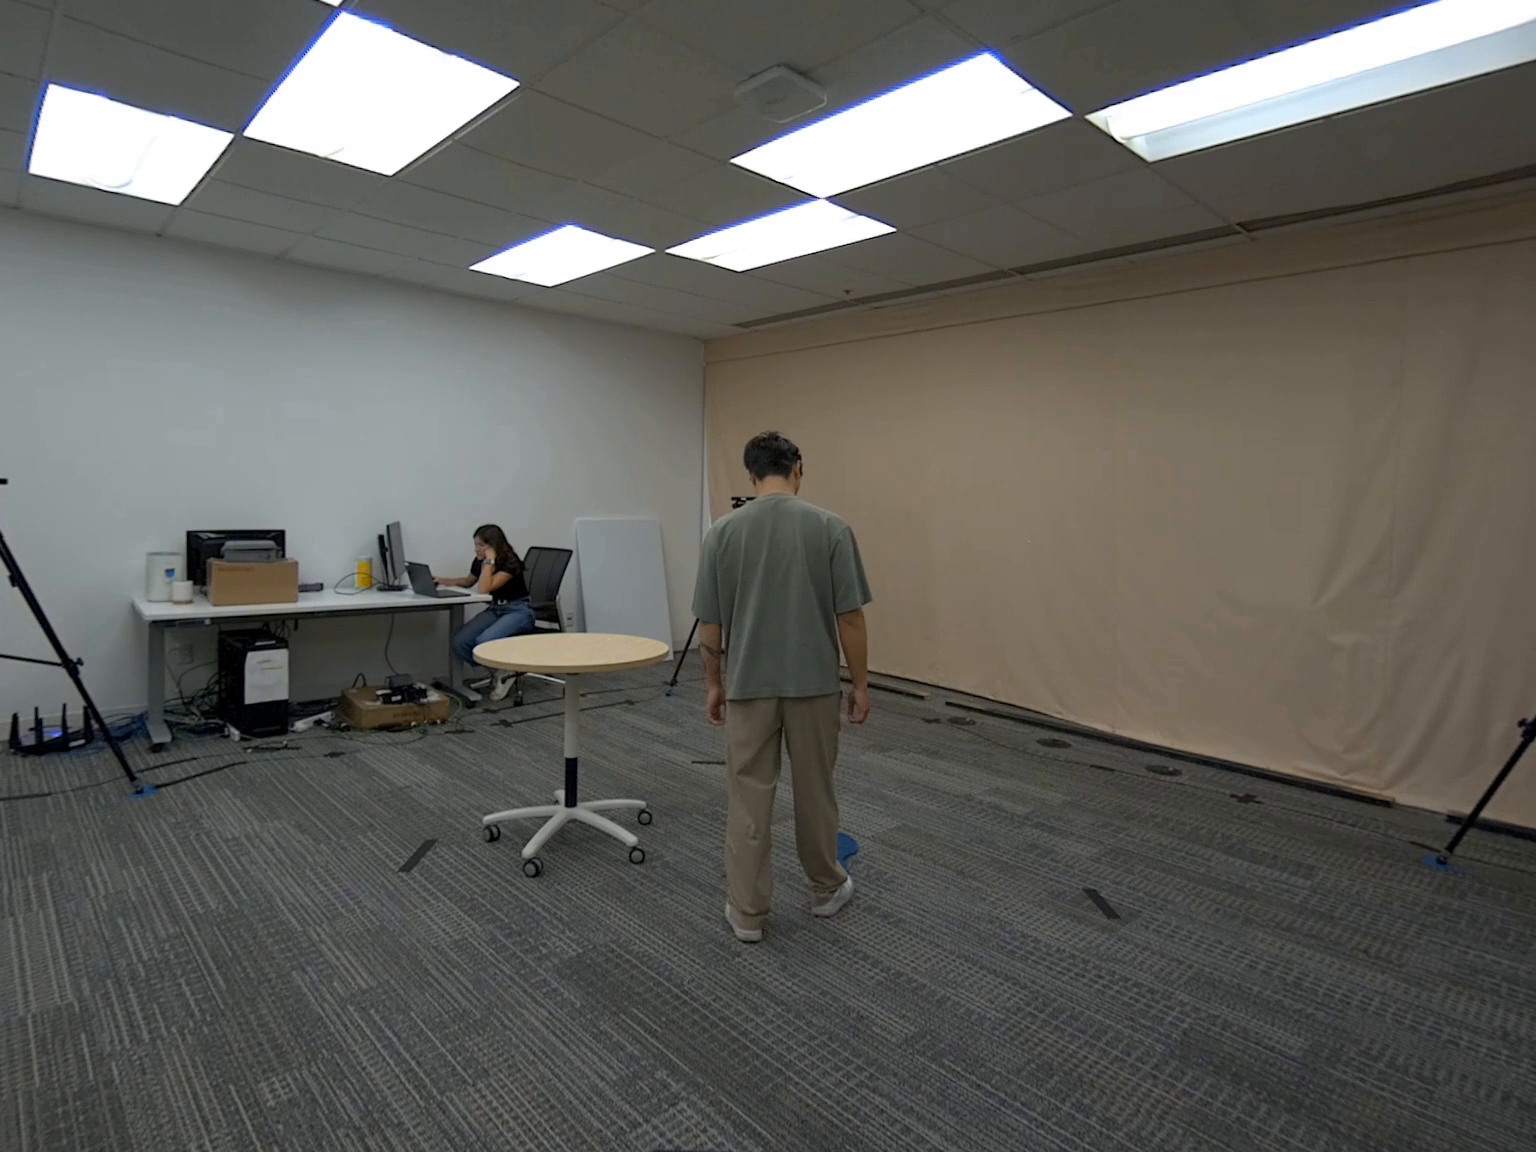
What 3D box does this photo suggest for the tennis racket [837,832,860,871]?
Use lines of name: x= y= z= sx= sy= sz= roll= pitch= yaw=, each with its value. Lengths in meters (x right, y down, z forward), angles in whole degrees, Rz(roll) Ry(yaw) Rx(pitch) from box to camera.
tennis racket: x=0.255 y=1.085 z=3.314 sx=0.213 sy=0.032 sz=0.435 roll=2 pitch=4 yaw=-6
